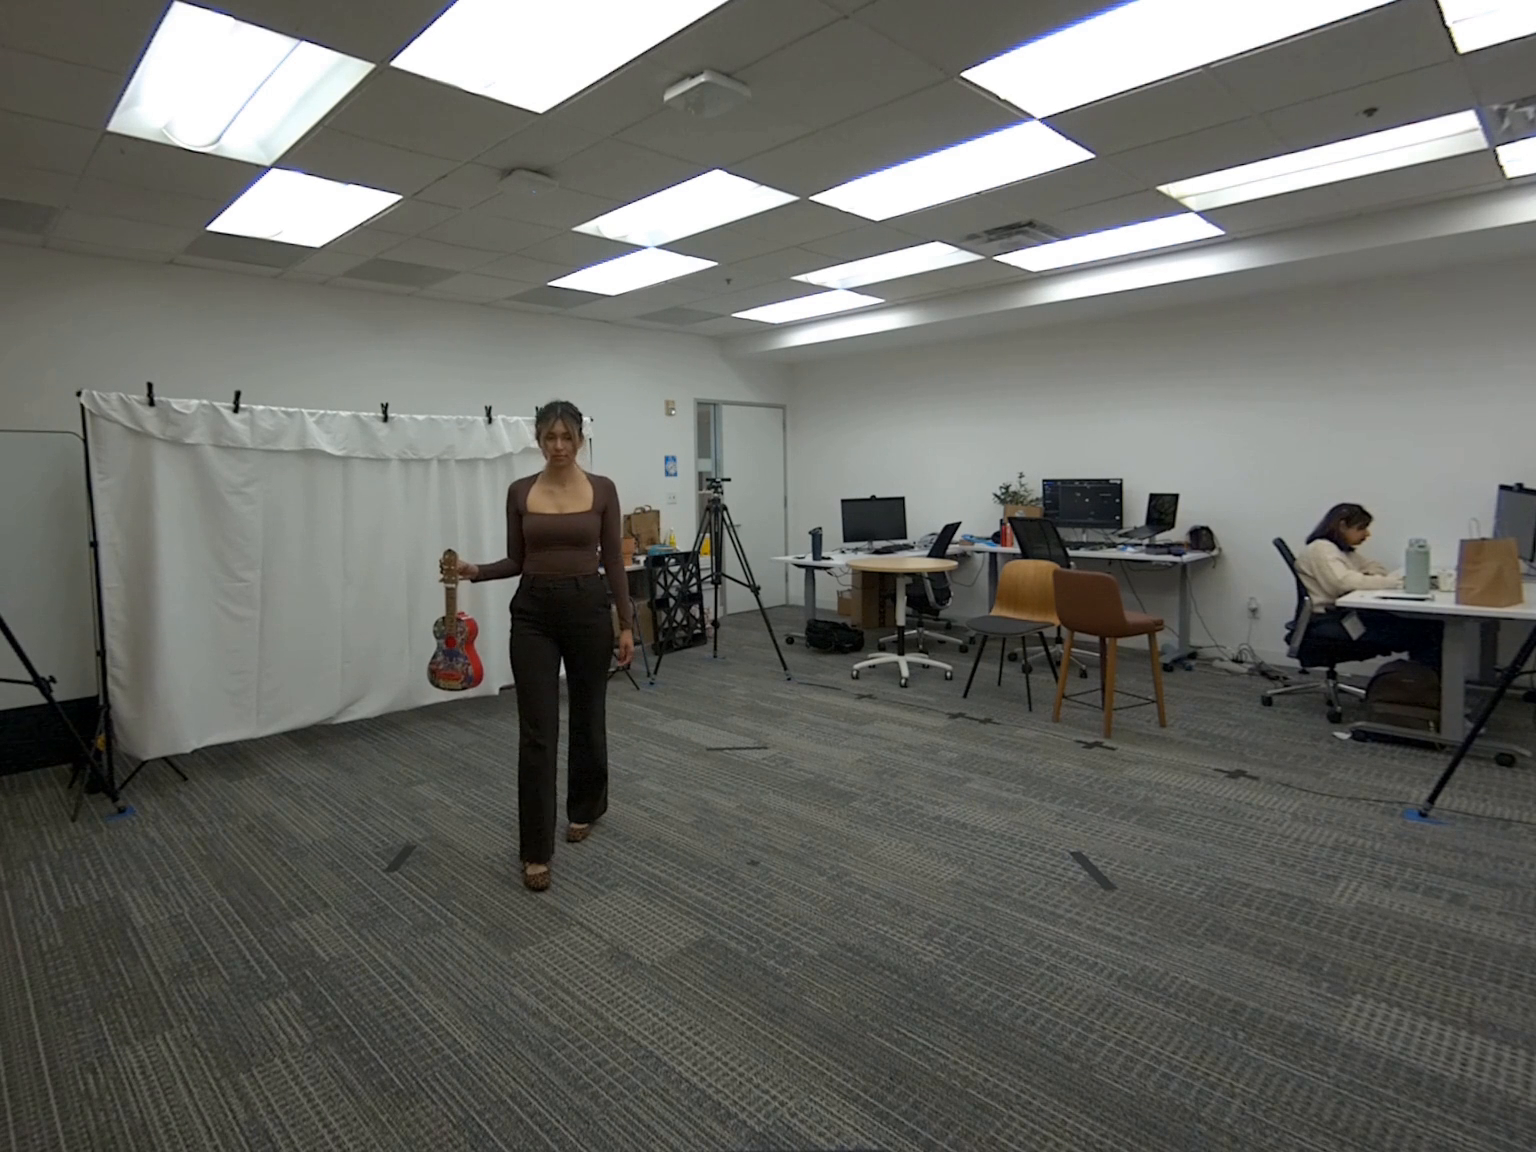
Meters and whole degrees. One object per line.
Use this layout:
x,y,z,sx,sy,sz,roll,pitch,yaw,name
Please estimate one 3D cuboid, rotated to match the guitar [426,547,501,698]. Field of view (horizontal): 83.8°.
-1.072,0.156,3.010,0.195,0.497,0.070,7,2,12,guitar
